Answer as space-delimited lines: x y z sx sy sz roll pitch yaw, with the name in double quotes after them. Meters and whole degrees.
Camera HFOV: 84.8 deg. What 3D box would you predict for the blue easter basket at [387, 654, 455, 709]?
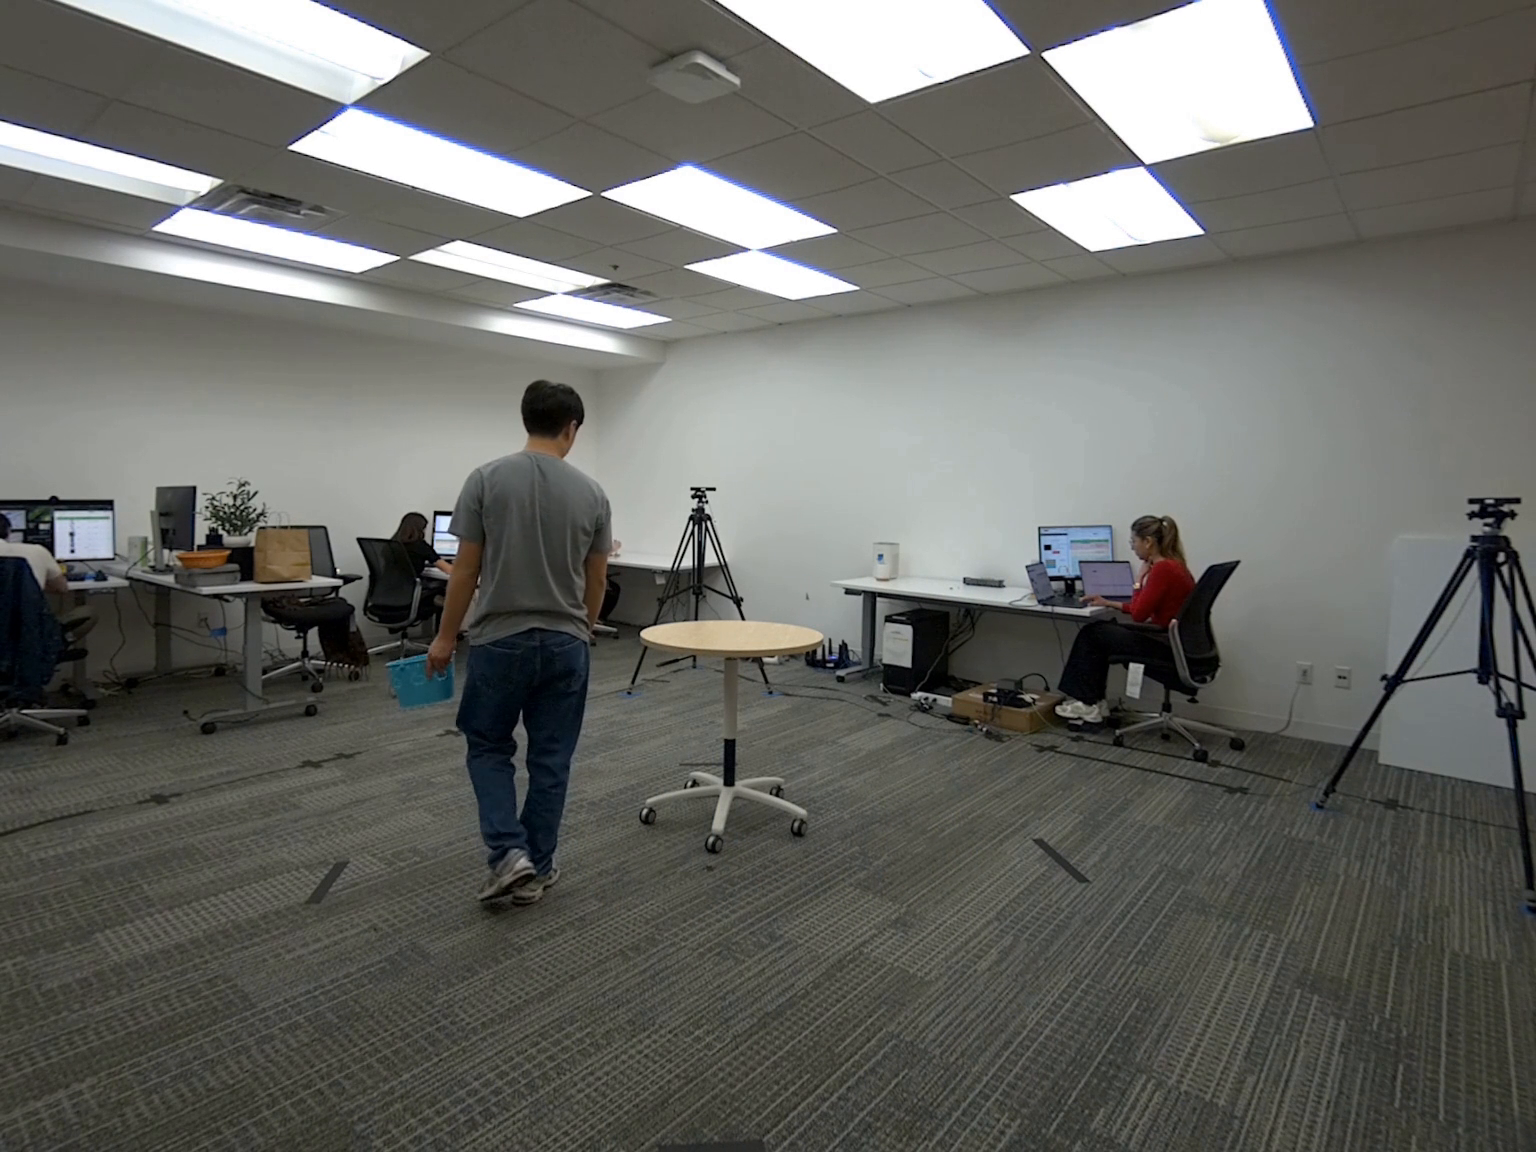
-1.200 0.354 2.923 0.243 0.156 0.244 -9 3 -2 "blue easter basket"
